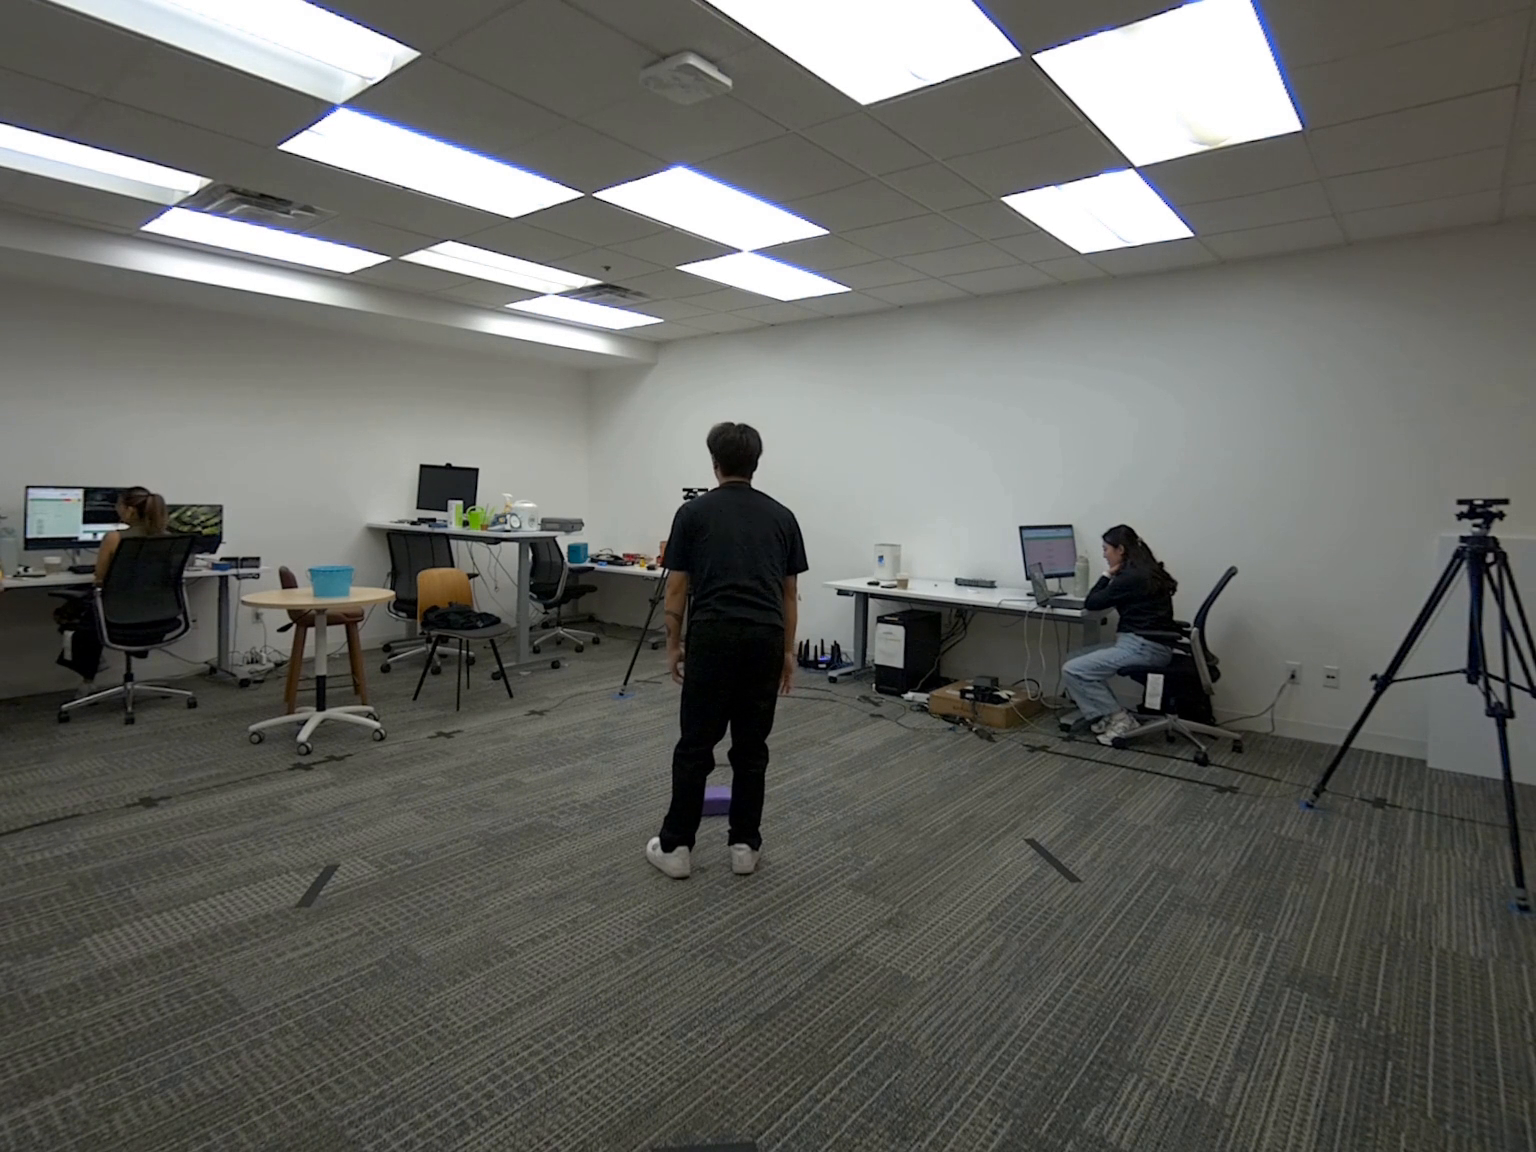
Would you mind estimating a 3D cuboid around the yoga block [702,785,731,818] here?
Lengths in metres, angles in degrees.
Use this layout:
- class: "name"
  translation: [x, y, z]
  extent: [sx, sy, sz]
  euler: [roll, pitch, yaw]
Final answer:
- class: "yoga block"
  translation: [-0.276, 0.971, 3.684]
  extent: [0.227, 0.076, 0.151]
  euler: [-3, 6, -10]
